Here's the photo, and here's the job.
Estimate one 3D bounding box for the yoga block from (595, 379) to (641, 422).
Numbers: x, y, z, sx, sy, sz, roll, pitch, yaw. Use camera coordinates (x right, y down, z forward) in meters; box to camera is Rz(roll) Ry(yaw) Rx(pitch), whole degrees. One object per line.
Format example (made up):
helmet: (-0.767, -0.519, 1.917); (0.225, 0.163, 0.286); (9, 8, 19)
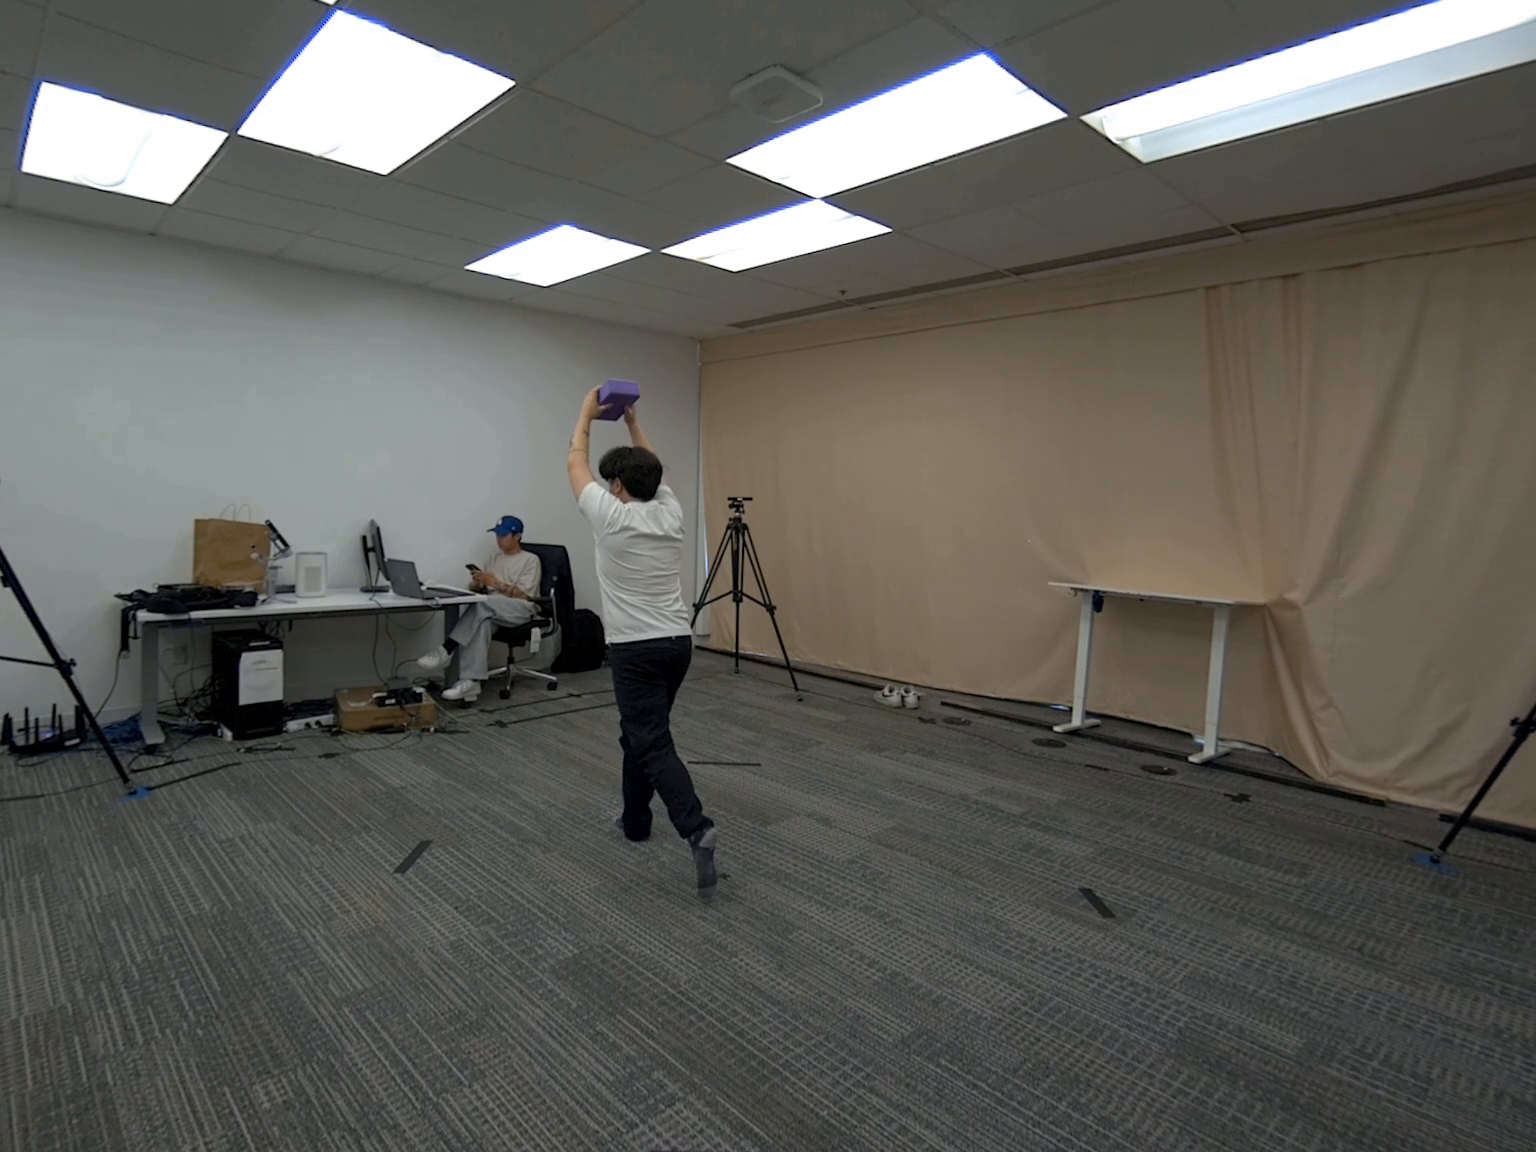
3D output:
yoga block: (-0.663, -0.739, 3.564); (0.145, 0.077, 0.231); (-2, -18, -39)
